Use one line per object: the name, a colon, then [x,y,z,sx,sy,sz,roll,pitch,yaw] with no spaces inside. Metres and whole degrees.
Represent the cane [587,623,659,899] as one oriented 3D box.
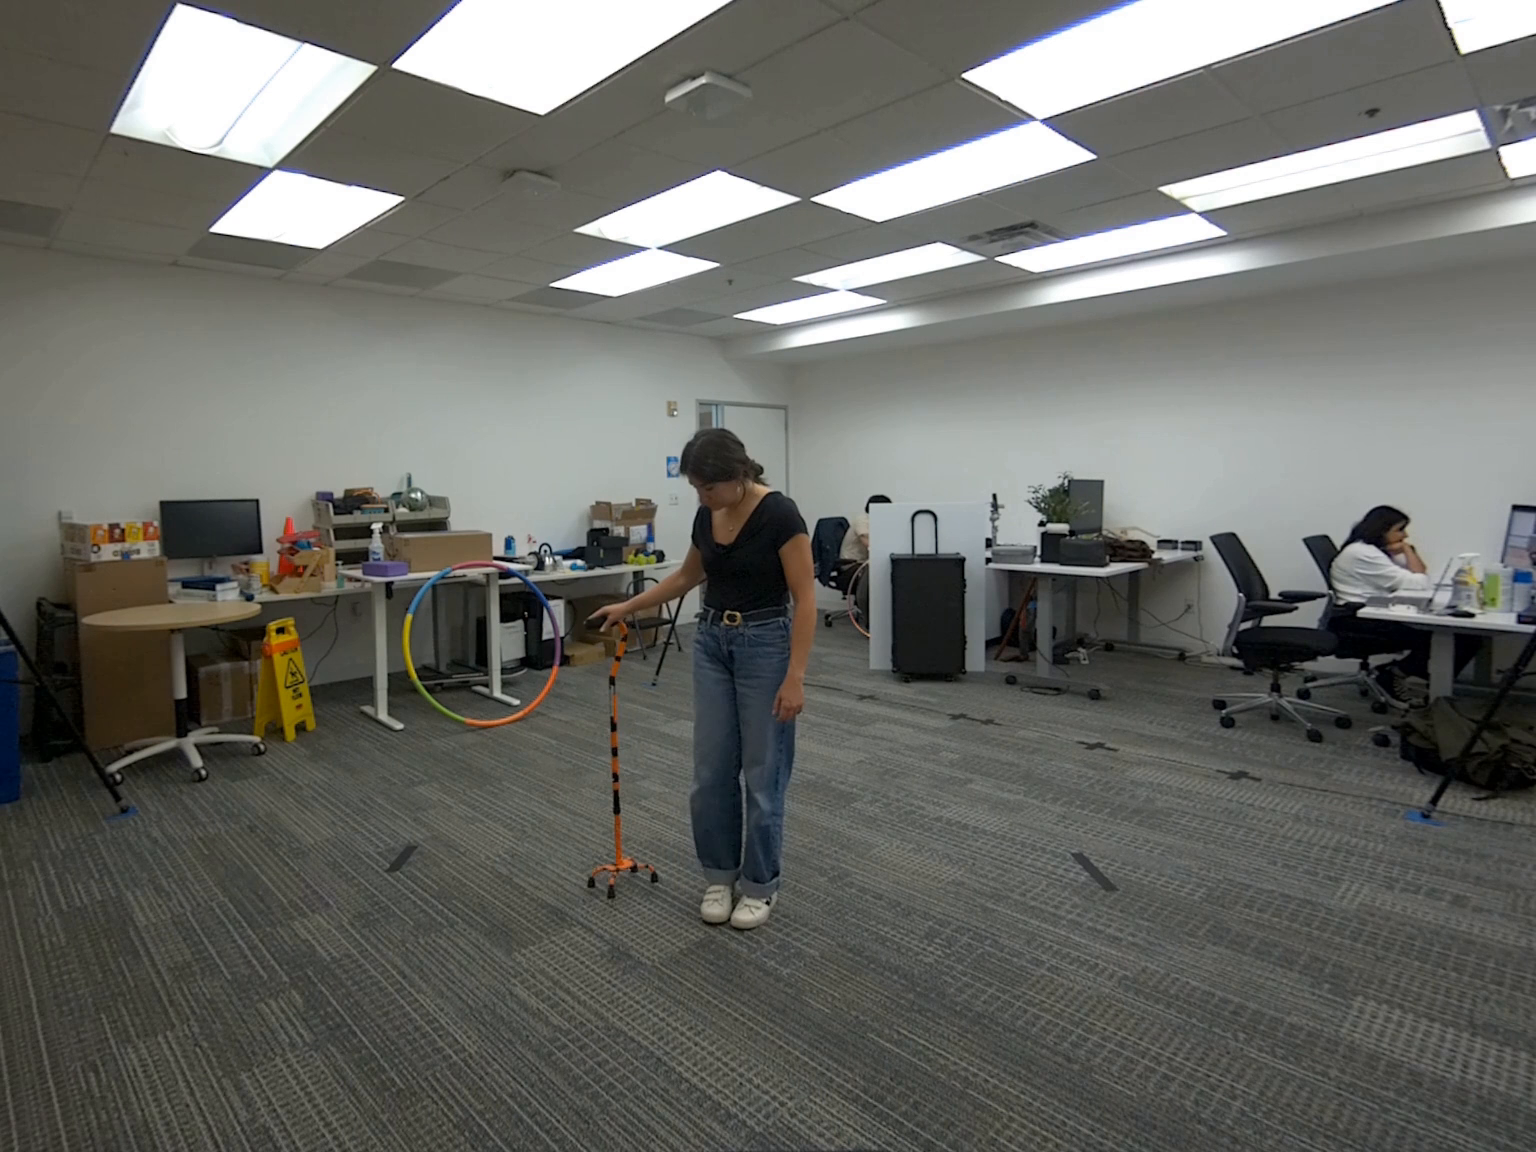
cane: [-0.513,0.603,2.921,0.201,0.908,0.156,-2,0,-41]
